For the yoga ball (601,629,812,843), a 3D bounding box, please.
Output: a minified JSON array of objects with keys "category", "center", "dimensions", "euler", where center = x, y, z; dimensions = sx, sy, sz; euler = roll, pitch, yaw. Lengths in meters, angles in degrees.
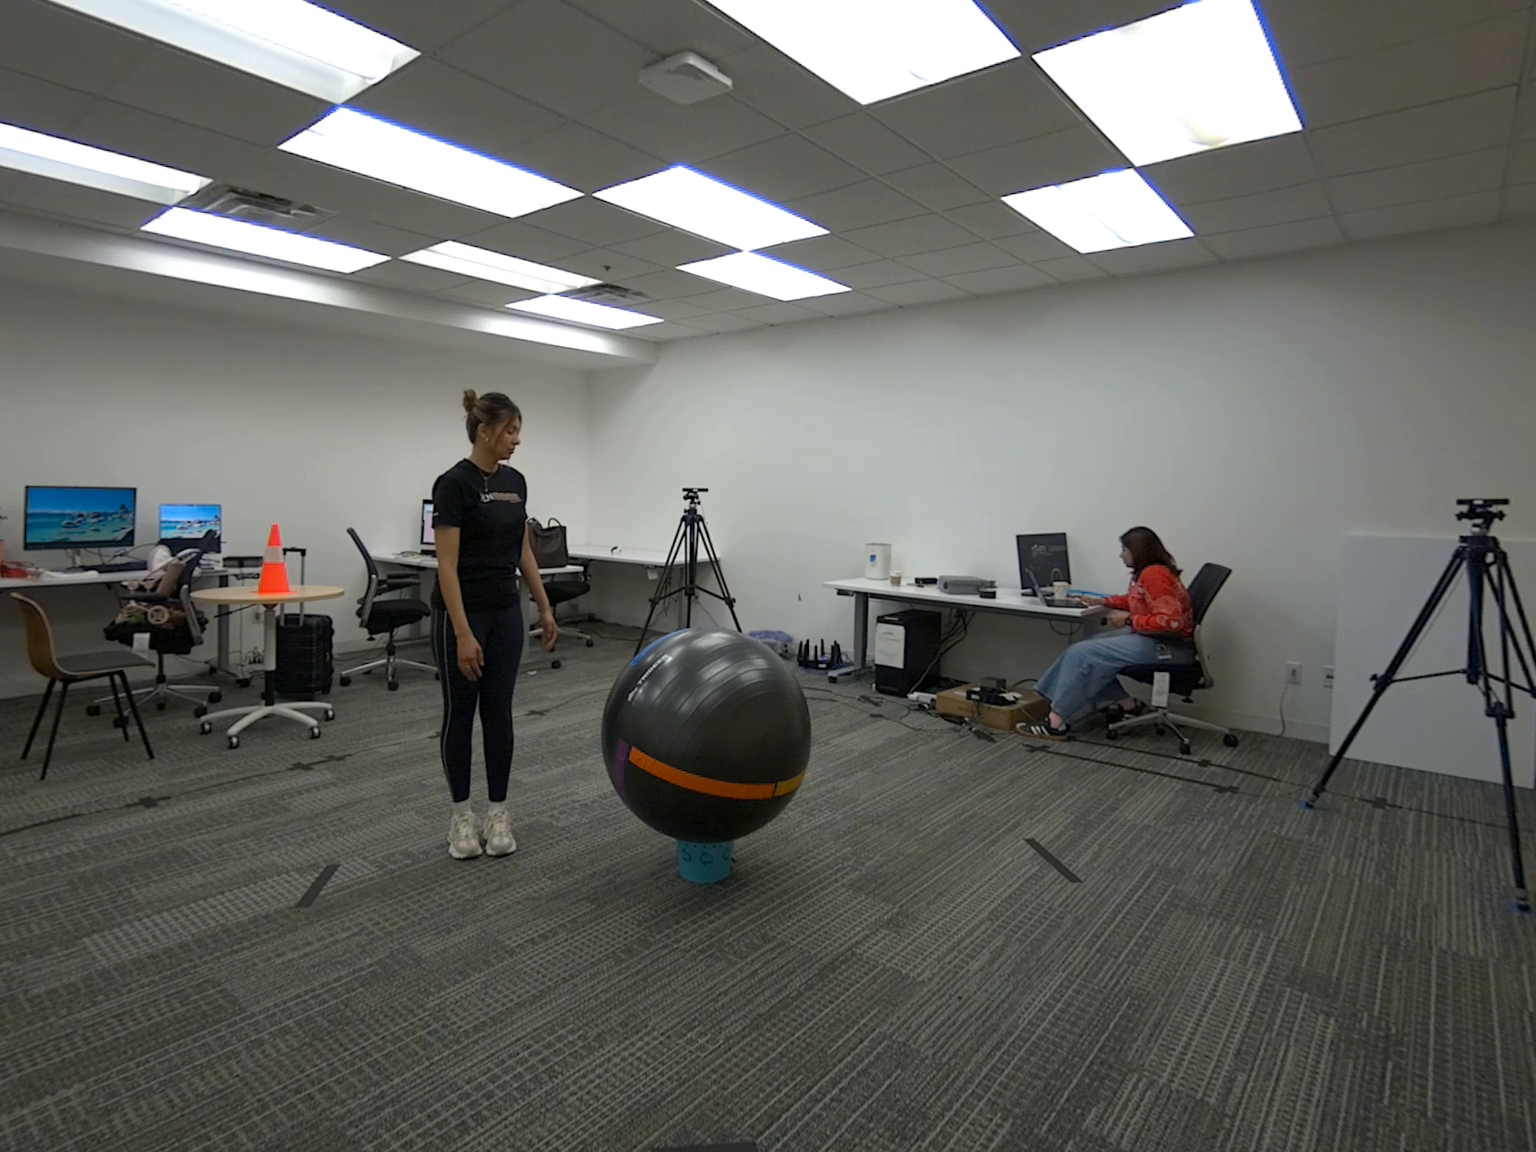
[{"category":"yoga ball","center":[-0.232,0.562,3.067],"dimensions":[0.757,0.755,0.762],"euler":[1,4,-2]}]
